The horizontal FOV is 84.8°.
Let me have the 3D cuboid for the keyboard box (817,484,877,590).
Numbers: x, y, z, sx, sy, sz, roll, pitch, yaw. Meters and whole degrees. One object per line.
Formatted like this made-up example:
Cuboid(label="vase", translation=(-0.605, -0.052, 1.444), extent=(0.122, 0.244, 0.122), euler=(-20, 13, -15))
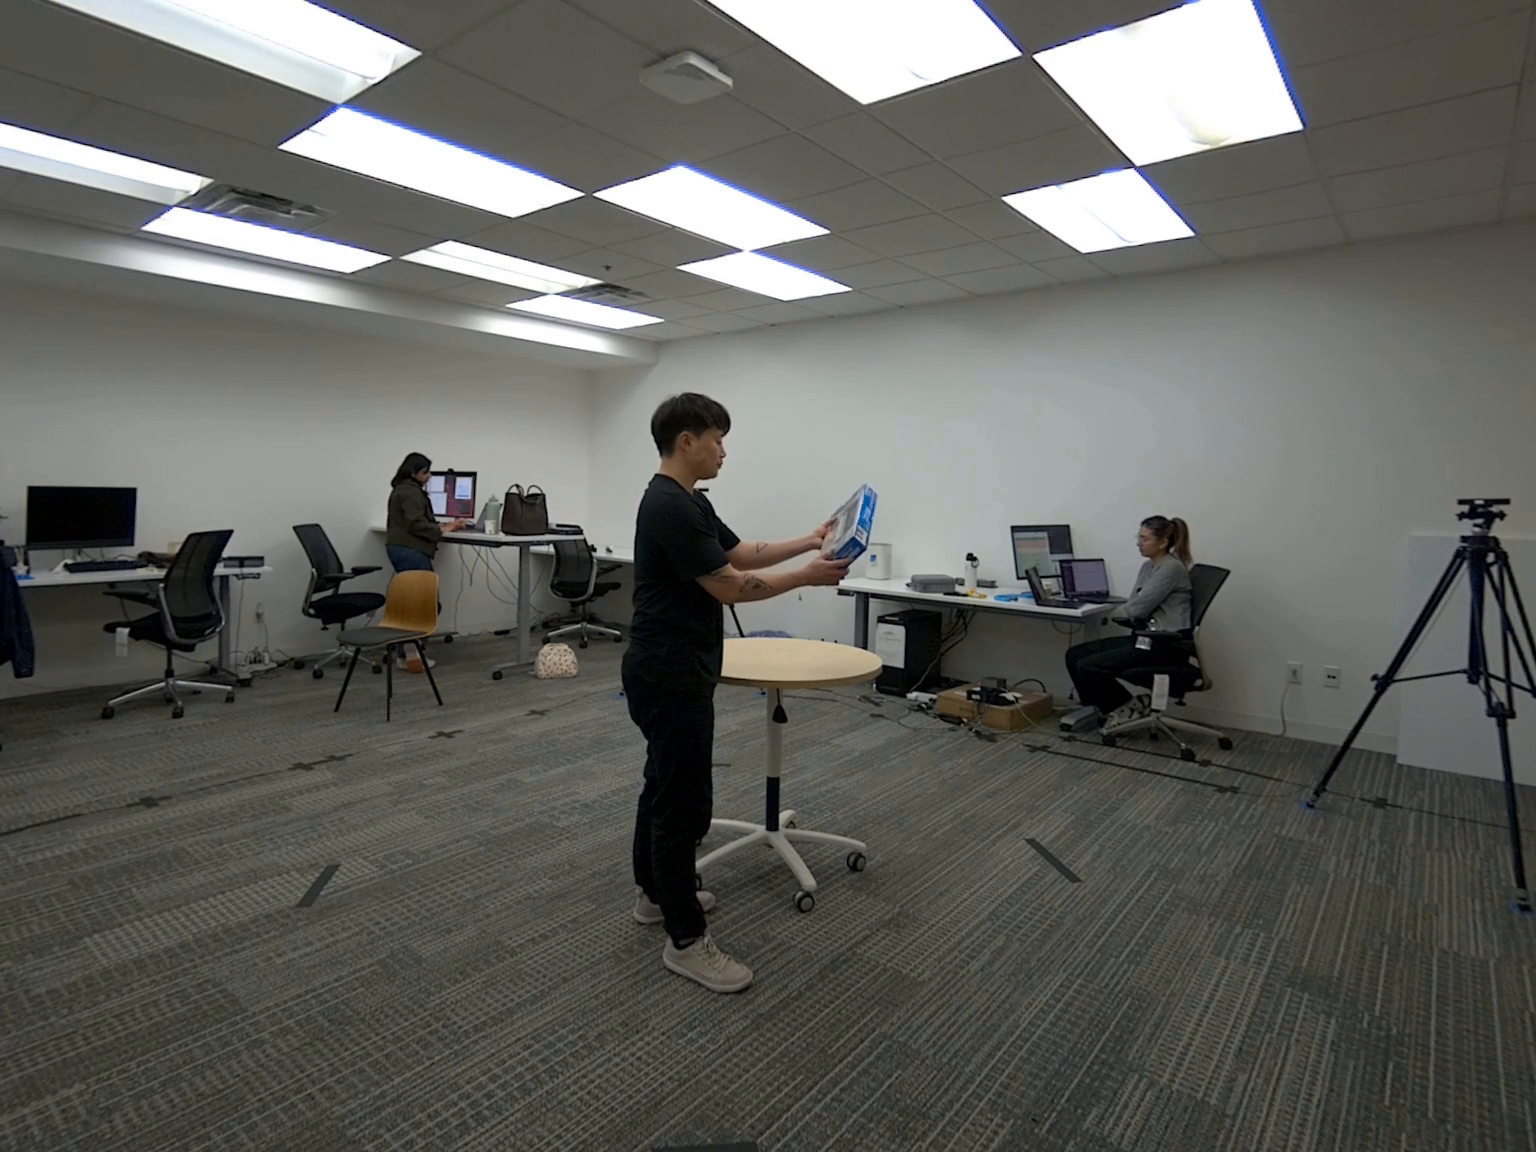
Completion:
Cuboid(label="keyboard box", translation=(0.247, -0.135, 2.667), extent=(0.058, 0.176, 0.441), euler=(40, 27, -10))
